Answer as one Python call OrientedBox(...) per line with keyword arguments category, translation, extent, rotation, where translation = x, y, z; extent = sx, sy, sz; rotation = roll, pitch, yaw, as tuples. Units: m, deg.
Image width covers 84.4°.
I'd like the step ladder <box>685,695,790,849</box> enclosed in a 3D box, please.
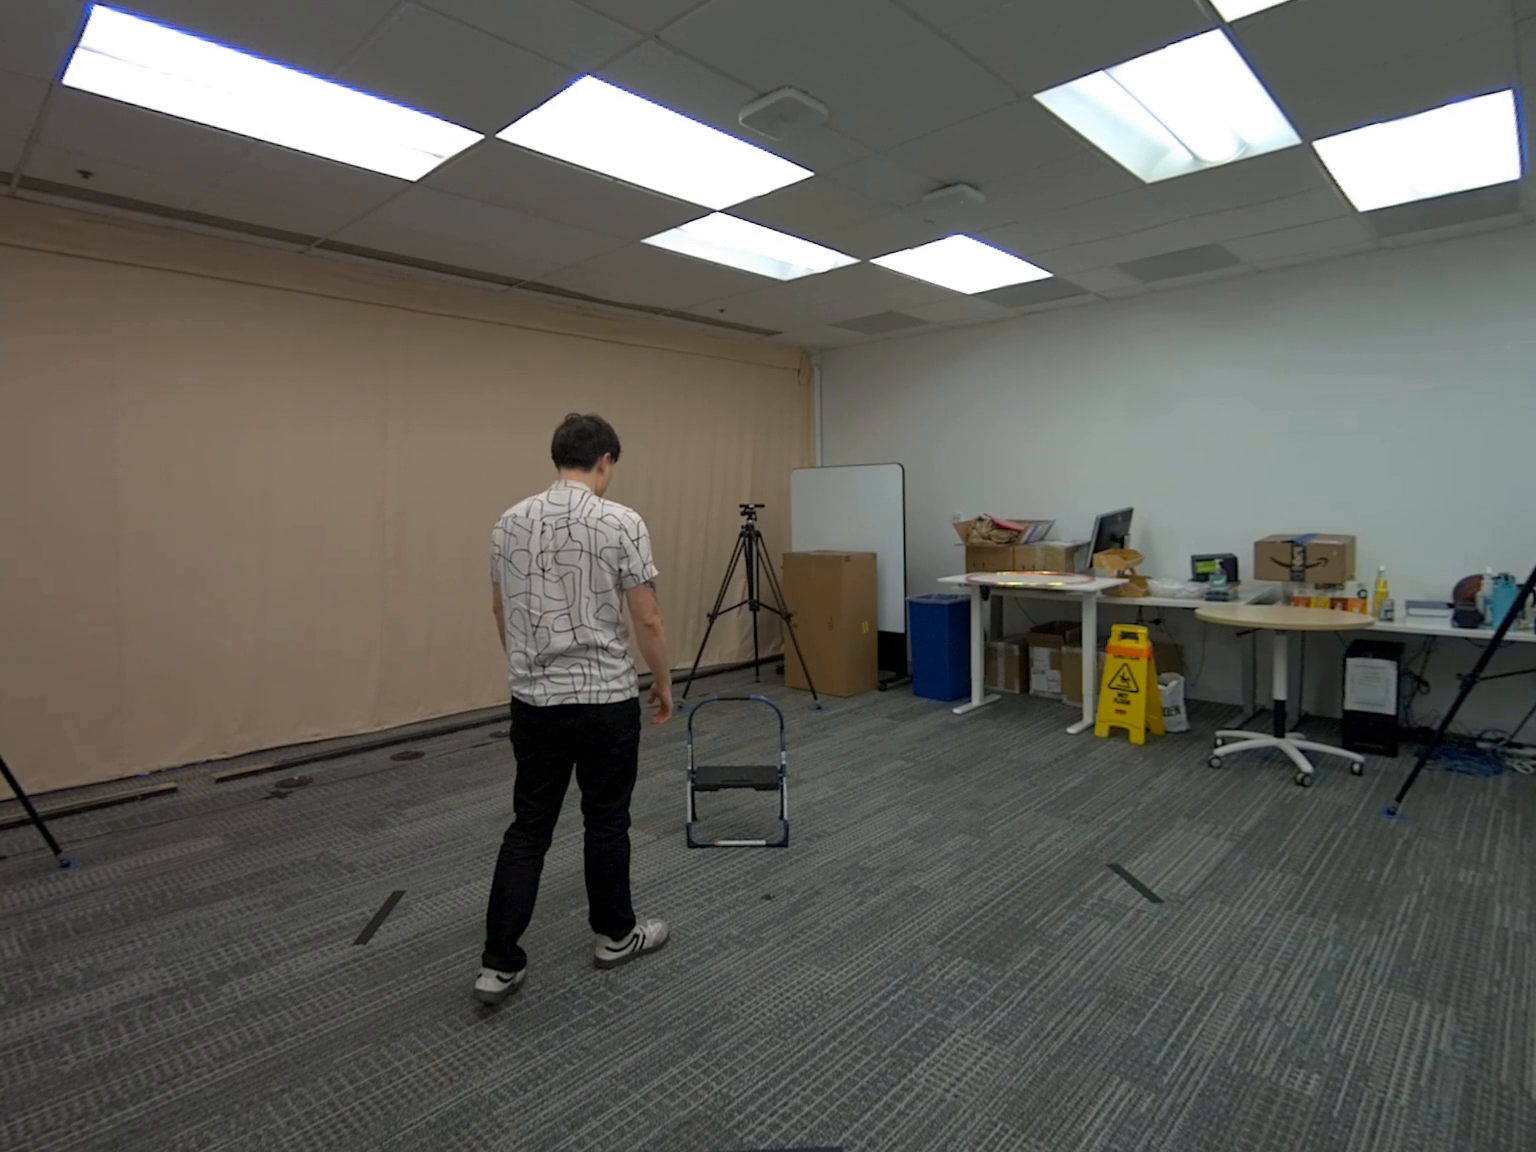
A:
OrientedBox(category="step ladder", translation=(-0.131, 0.794, 3.571), extent=(0.431, 0.605, 0.350), rotation=(-1, 2, 0))
